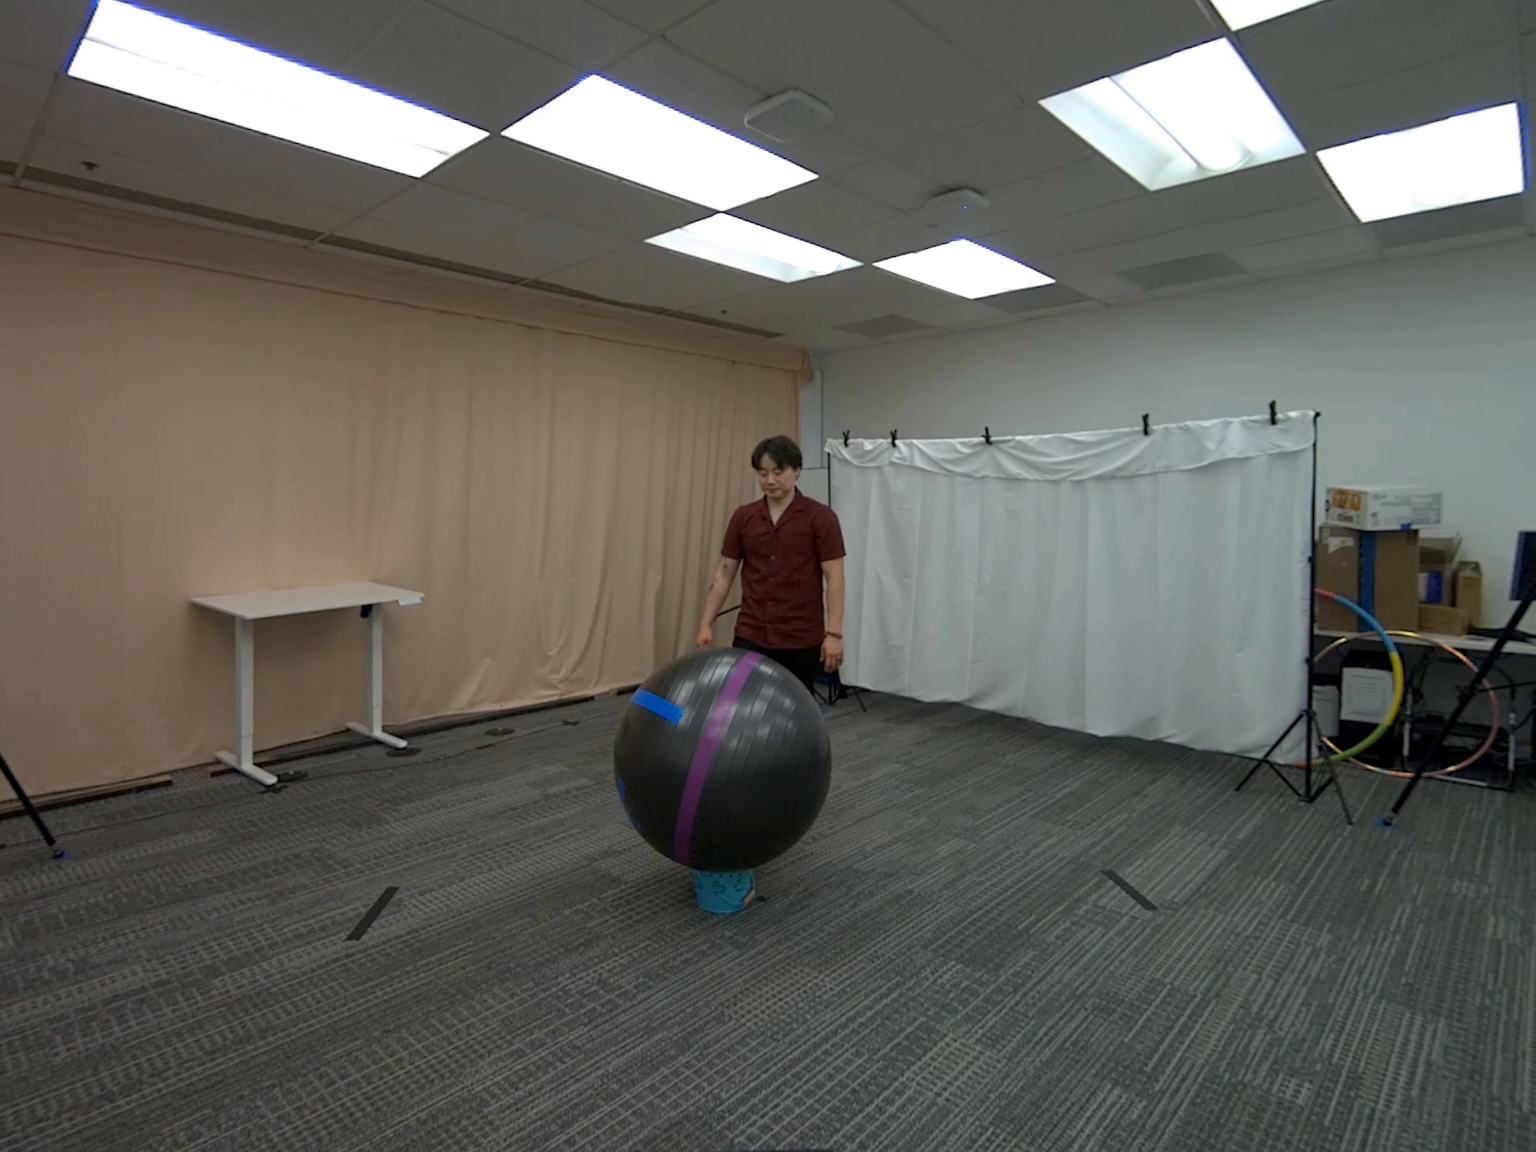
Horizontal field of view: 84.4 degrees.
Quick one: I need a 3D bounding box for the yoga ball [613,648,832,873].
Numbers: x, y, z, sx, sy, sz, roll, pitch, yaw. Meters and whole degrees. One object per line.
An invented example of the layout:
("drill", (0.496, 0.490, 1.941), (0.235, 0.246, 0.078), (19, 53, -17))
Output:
("yoga ball", (-0.156, 0.633, 2.945), (0.757, 0.756, 0.760), (0, 4, -2))
